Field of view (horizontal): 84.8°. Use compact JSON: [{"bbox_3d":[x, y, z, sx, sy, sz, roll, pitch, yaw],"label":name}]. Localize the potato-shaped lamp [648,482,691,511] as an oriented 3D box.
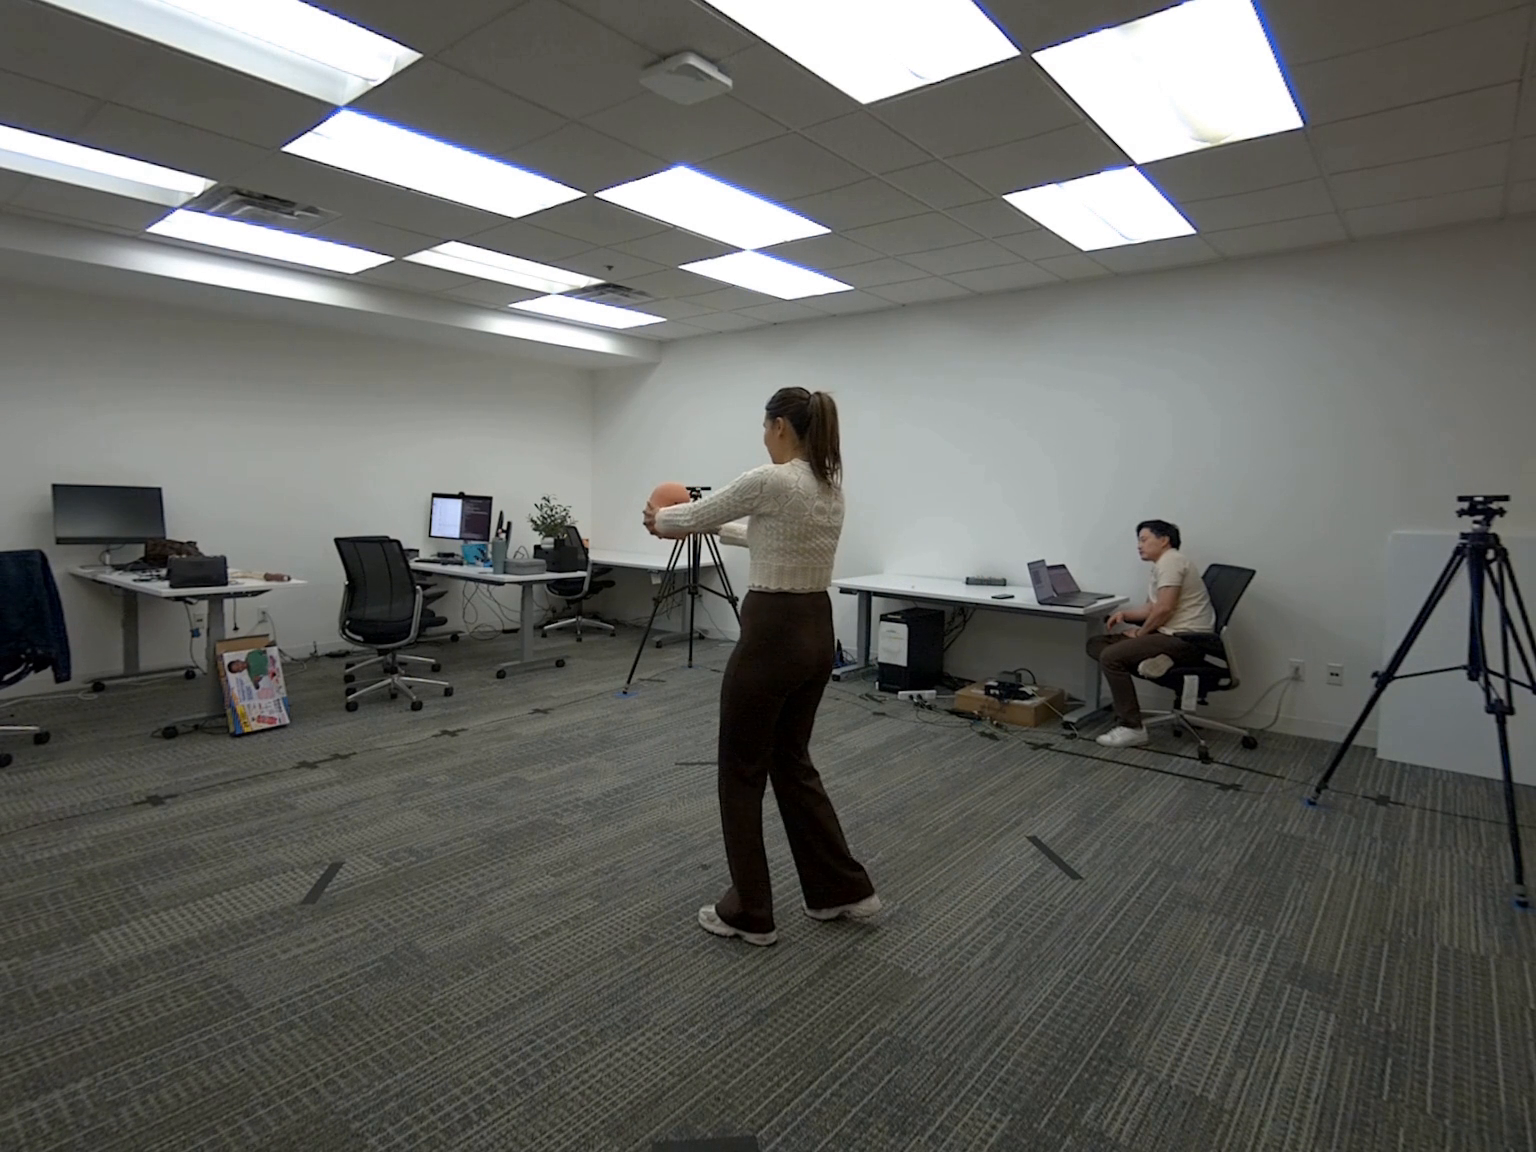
[{"bbox_3d":[-0.373,-0.245,3.064,0.173,0.198,0.163,0,-2,6],"label":"potato-shaped lamp"}]
